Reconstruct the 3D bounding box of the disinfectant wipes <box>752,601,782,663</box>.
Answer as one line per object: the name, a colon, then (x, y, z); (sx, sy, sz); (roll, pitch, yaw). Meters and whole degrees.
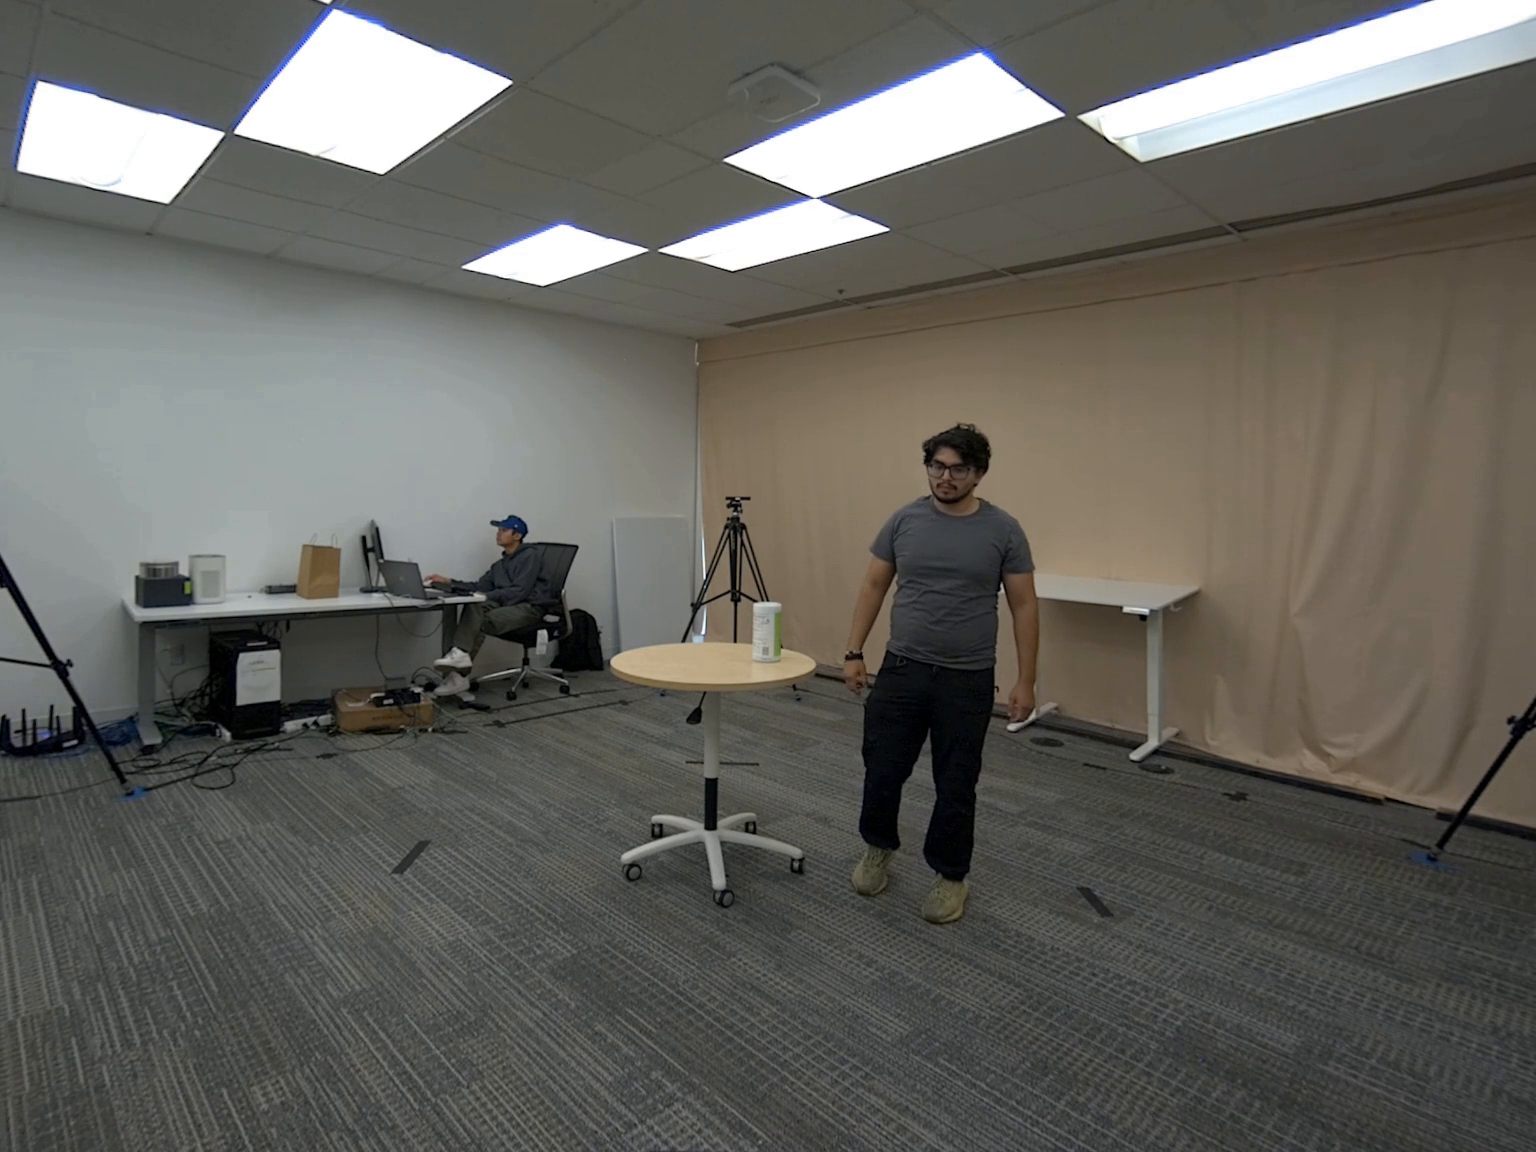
disinfectant wipes: (-0.012, 0.214, 3.178); (0.118, 0.217, 0.118); (3, 4, -2)
